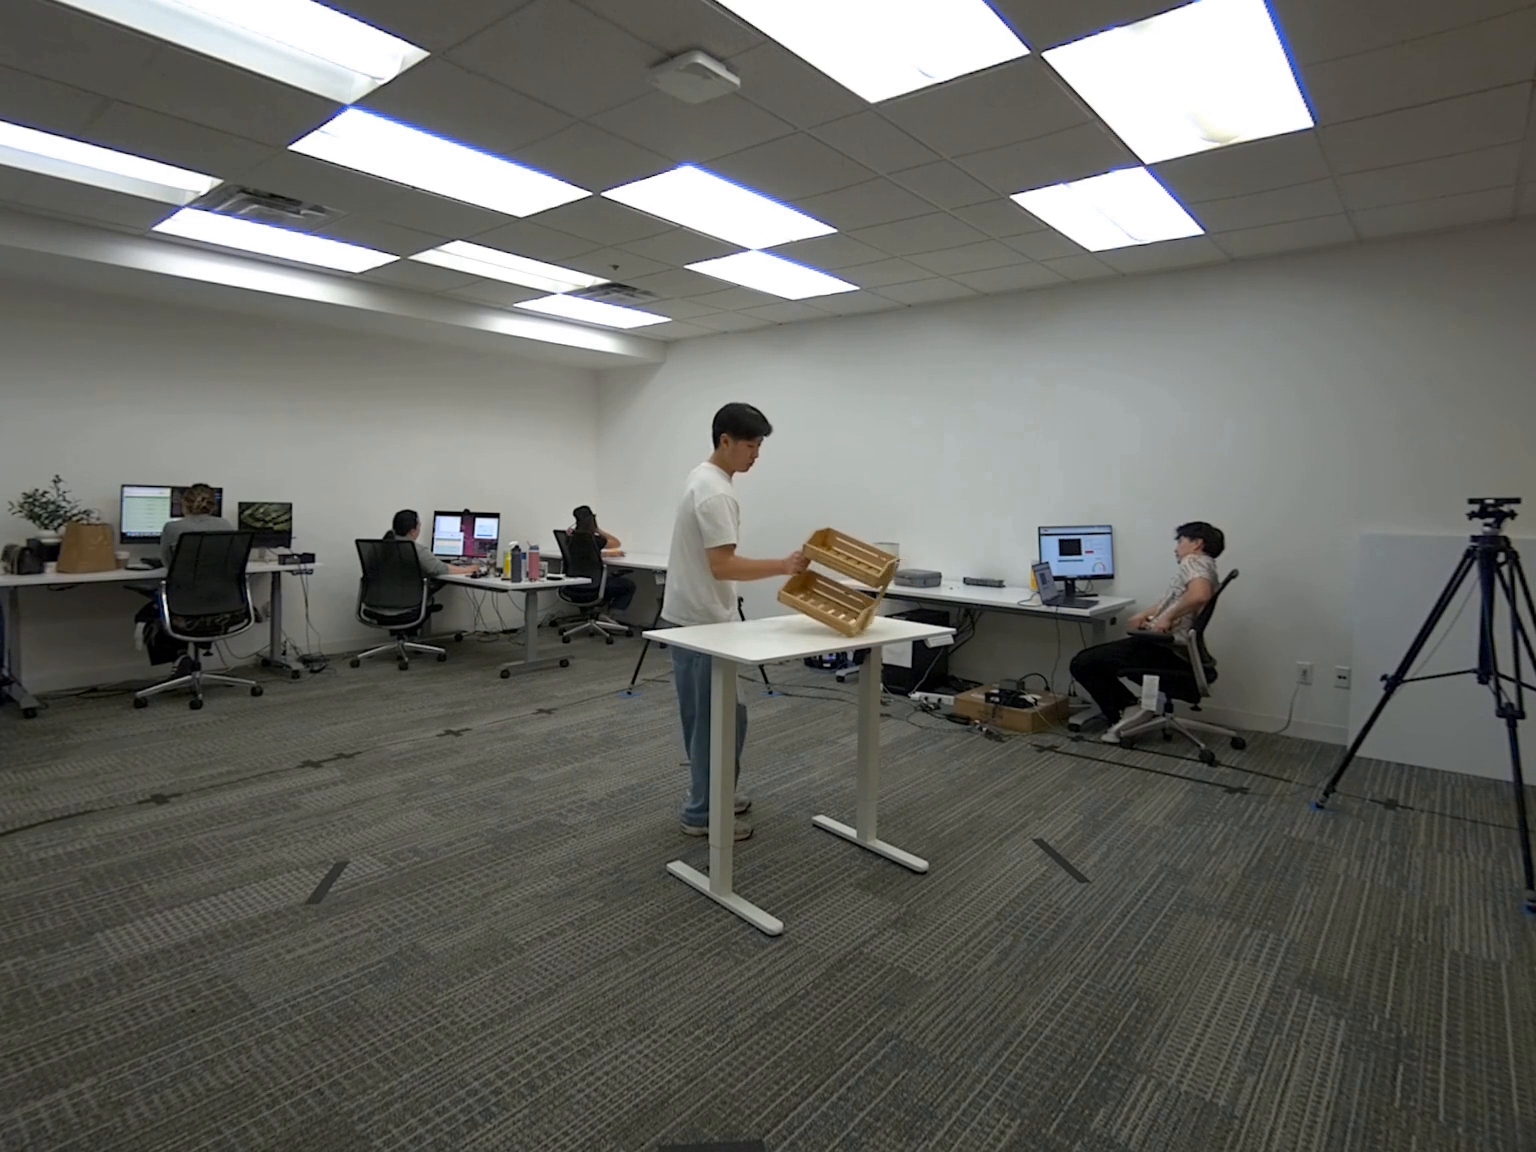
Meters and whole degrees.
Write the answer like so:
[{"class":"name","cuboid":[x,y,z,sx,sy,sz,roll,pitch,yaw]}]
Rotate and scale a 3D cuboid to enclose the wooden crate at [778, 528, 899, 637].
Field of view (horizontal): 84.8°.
[{"class":"wooden crate","cuboid":[0.231,-0.004,3.072,0.334,0.271,0.296,25,18,21]}]
